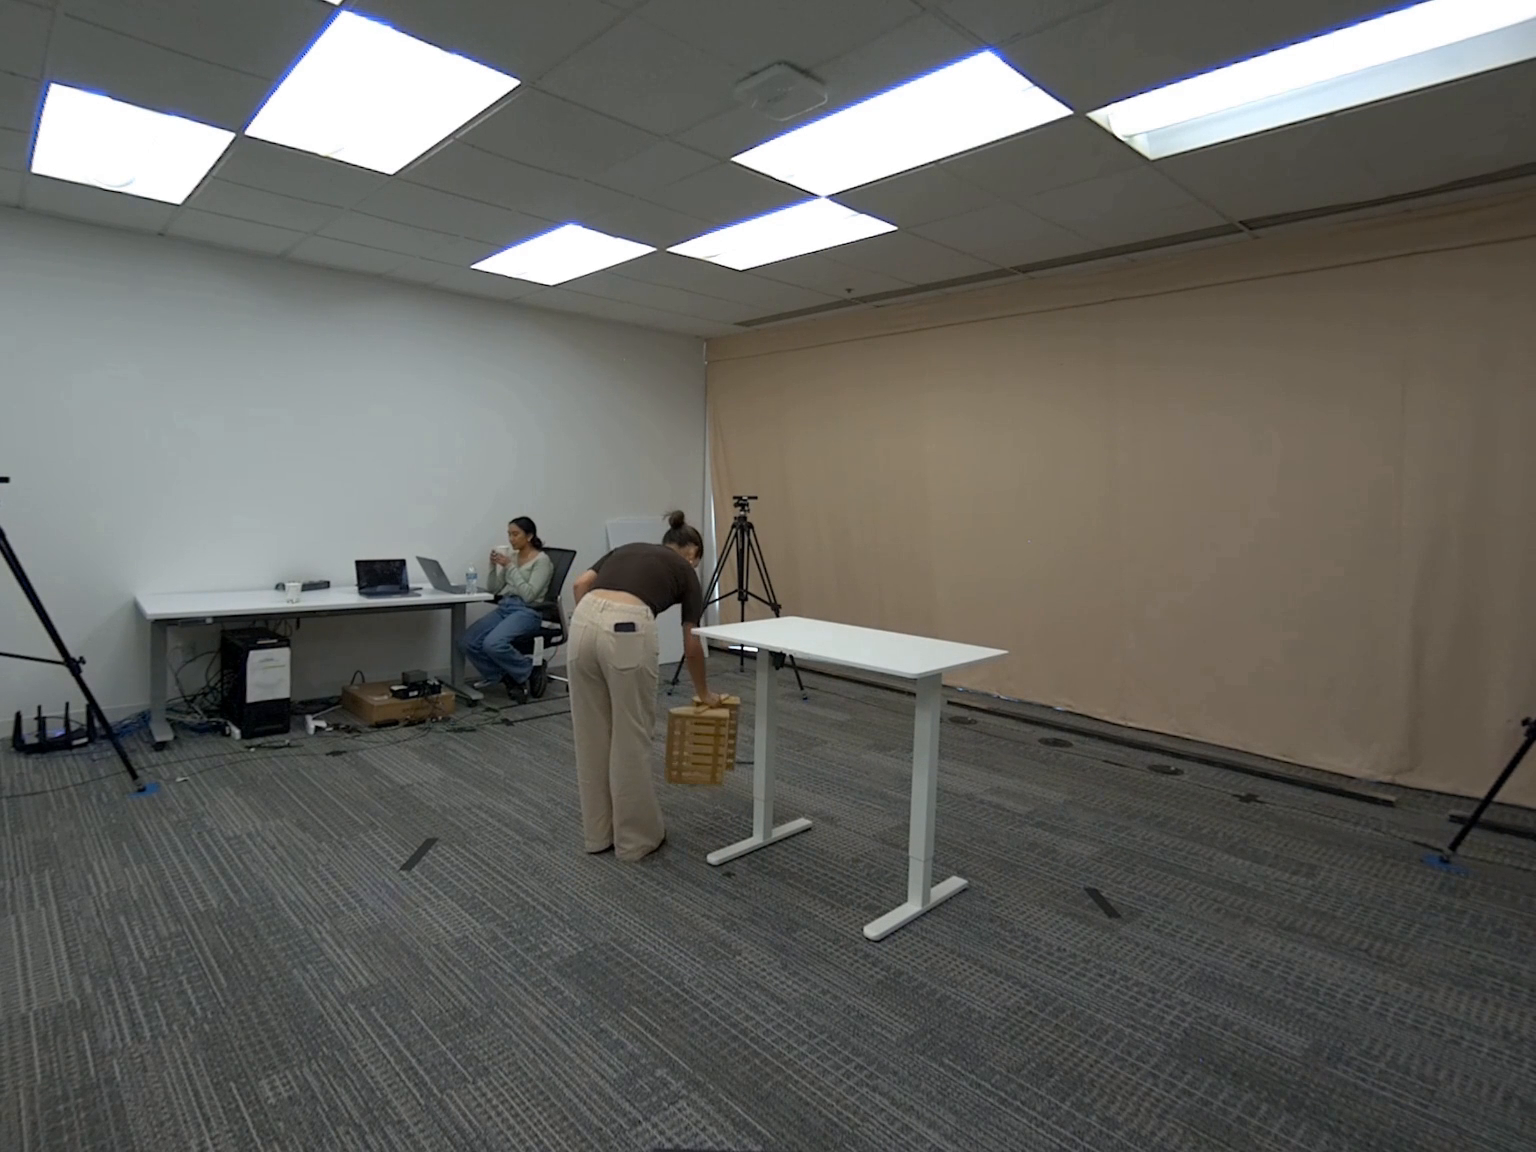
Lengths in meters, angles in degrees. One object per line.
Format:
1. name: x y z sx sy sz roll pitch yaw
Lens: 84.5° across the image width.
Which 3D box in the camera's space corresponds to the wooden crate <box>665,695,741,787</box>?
1. wooden crate: -0.279 0.687 3.576 0.301 0.322 0.276 4 10 -3
